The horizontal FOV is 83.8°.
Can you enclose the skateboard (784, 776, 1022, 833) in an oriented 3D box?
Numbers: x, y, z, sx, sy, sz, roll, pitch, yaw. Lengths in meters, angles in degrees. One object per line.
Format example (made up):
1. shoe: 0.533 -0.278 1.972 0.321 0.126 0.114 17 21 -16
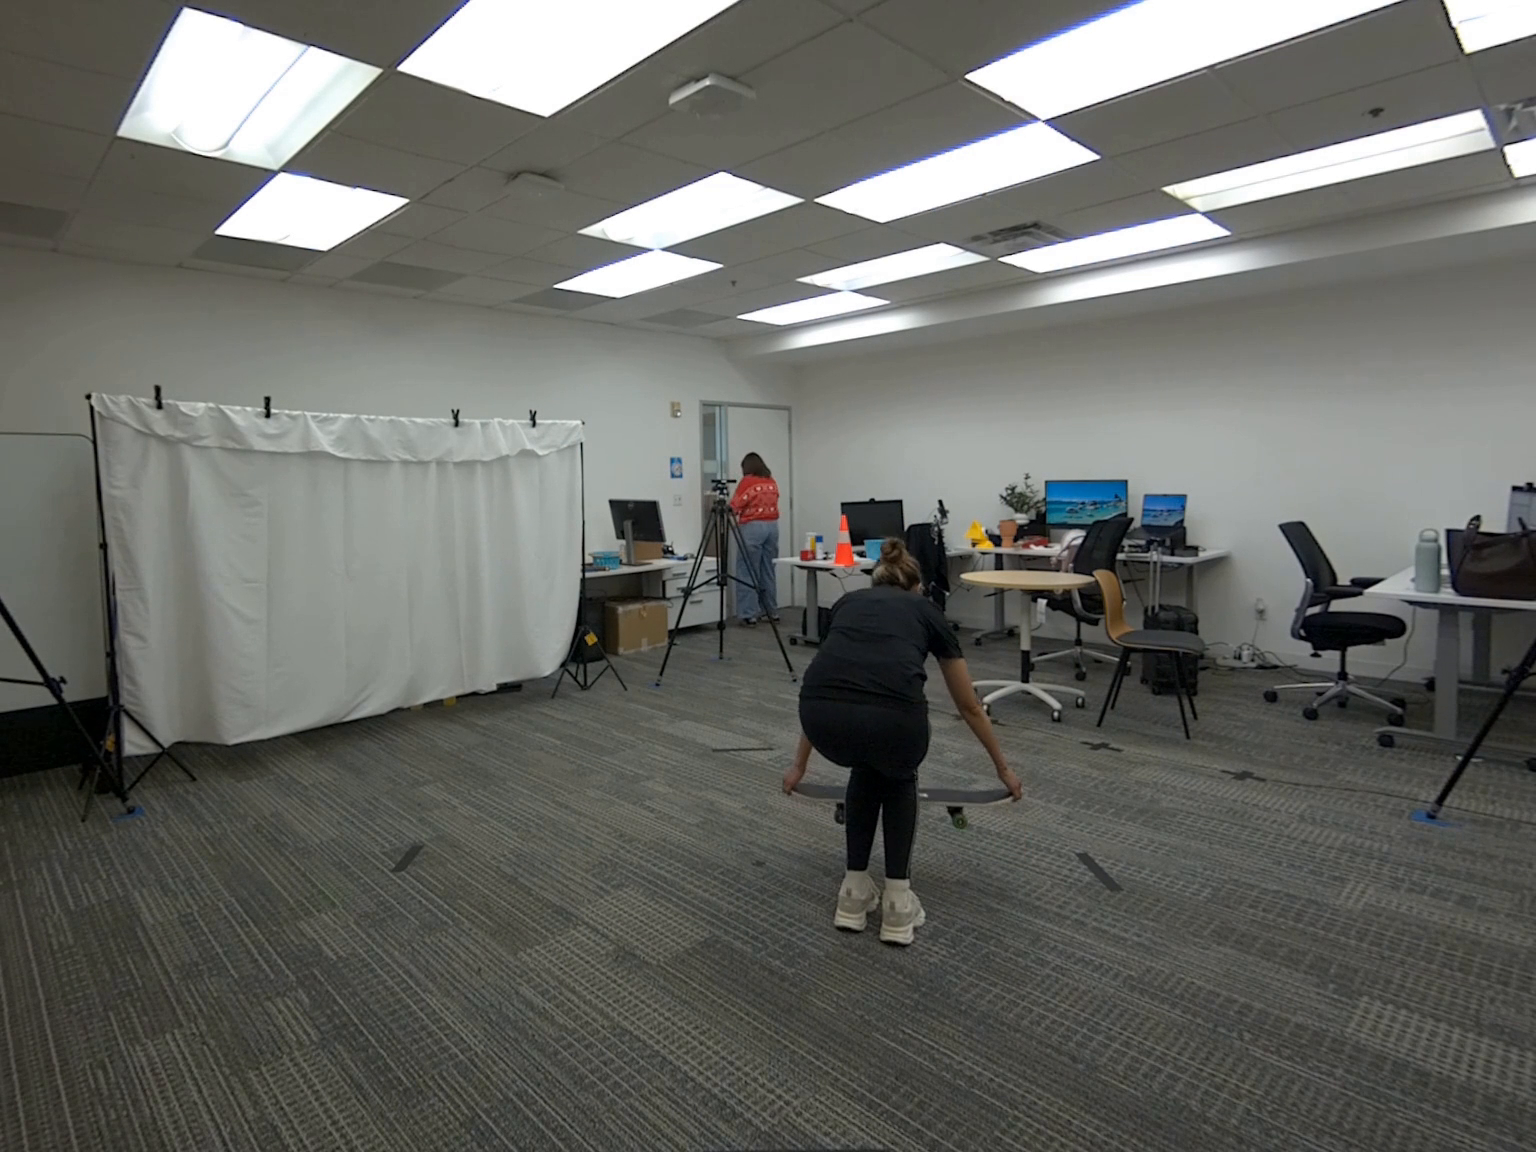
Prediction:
1. skateboard: 0.458 0.792 3.004 0.794 0.110 0.191 0 -1 11
